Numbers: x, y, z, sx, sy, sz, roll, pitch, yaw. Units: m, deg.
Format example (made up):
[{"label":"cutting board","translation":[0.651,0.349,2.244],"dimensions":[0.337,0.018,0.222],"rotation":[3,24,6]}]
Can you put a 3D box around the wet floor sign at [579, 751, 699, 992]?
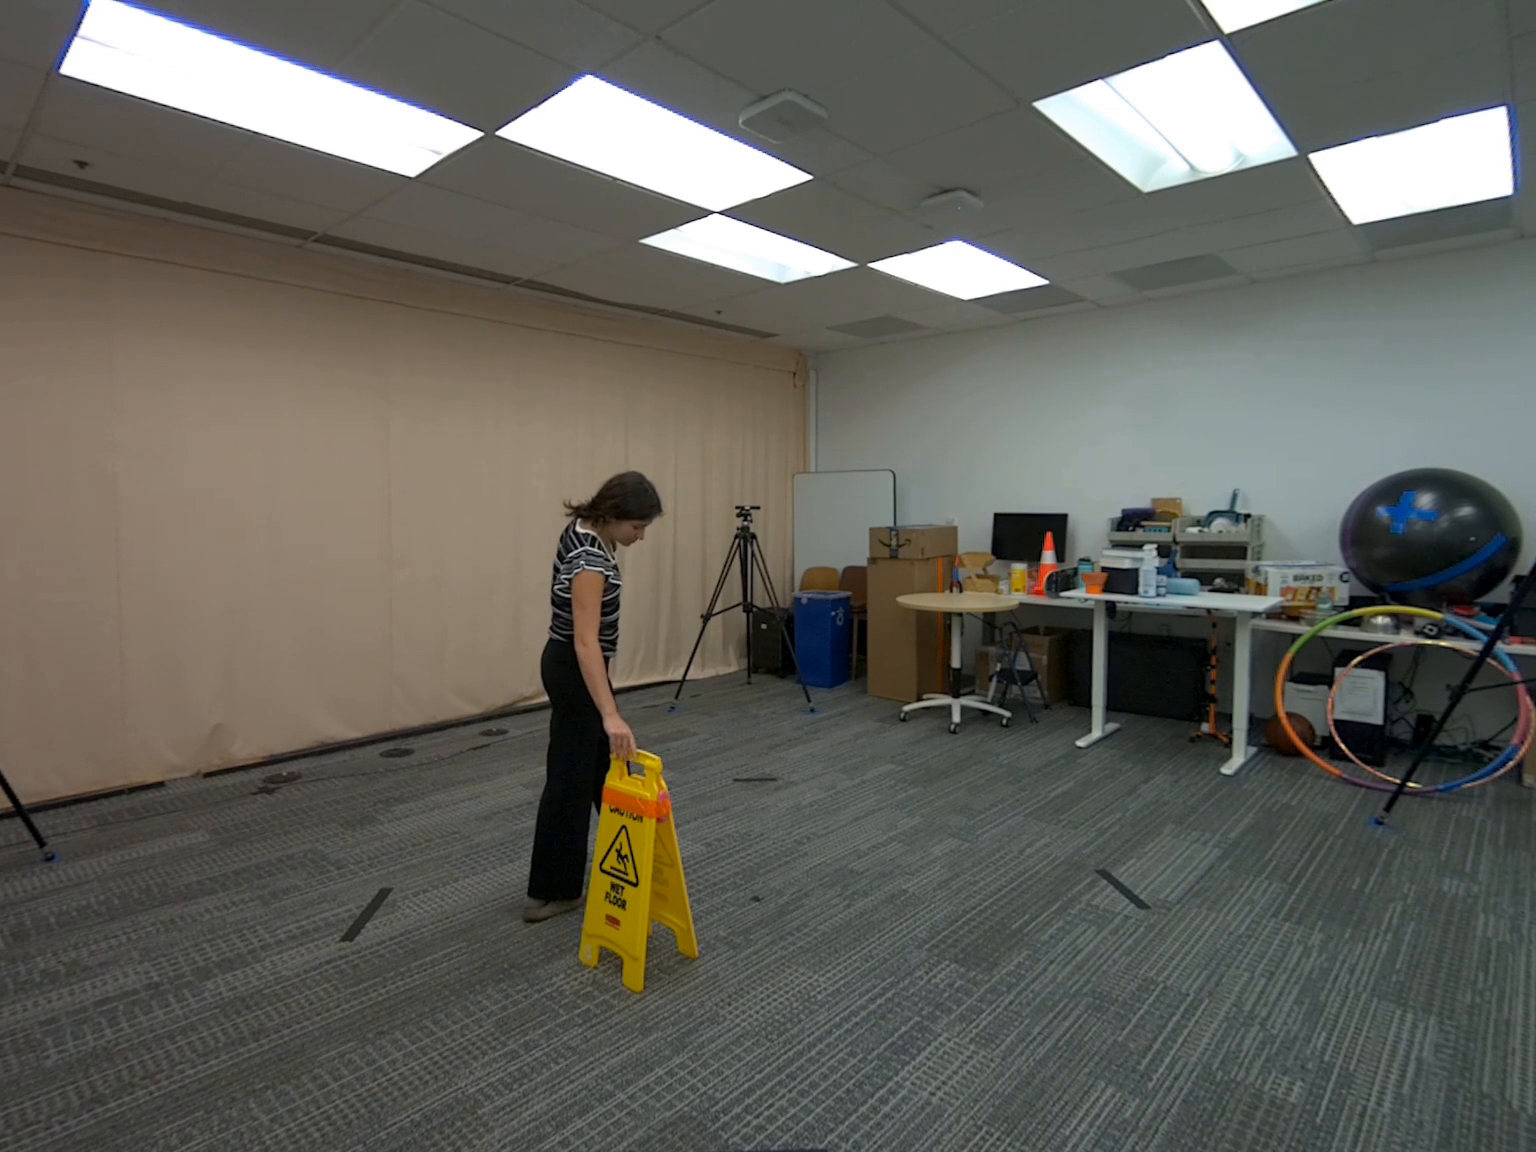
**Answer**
[{"label":"wet floor sign","translation":[-0.400,0.856,2.568],"dimensions":[0.291,0.645,0.281],"rotation":[2,4,39]}]
